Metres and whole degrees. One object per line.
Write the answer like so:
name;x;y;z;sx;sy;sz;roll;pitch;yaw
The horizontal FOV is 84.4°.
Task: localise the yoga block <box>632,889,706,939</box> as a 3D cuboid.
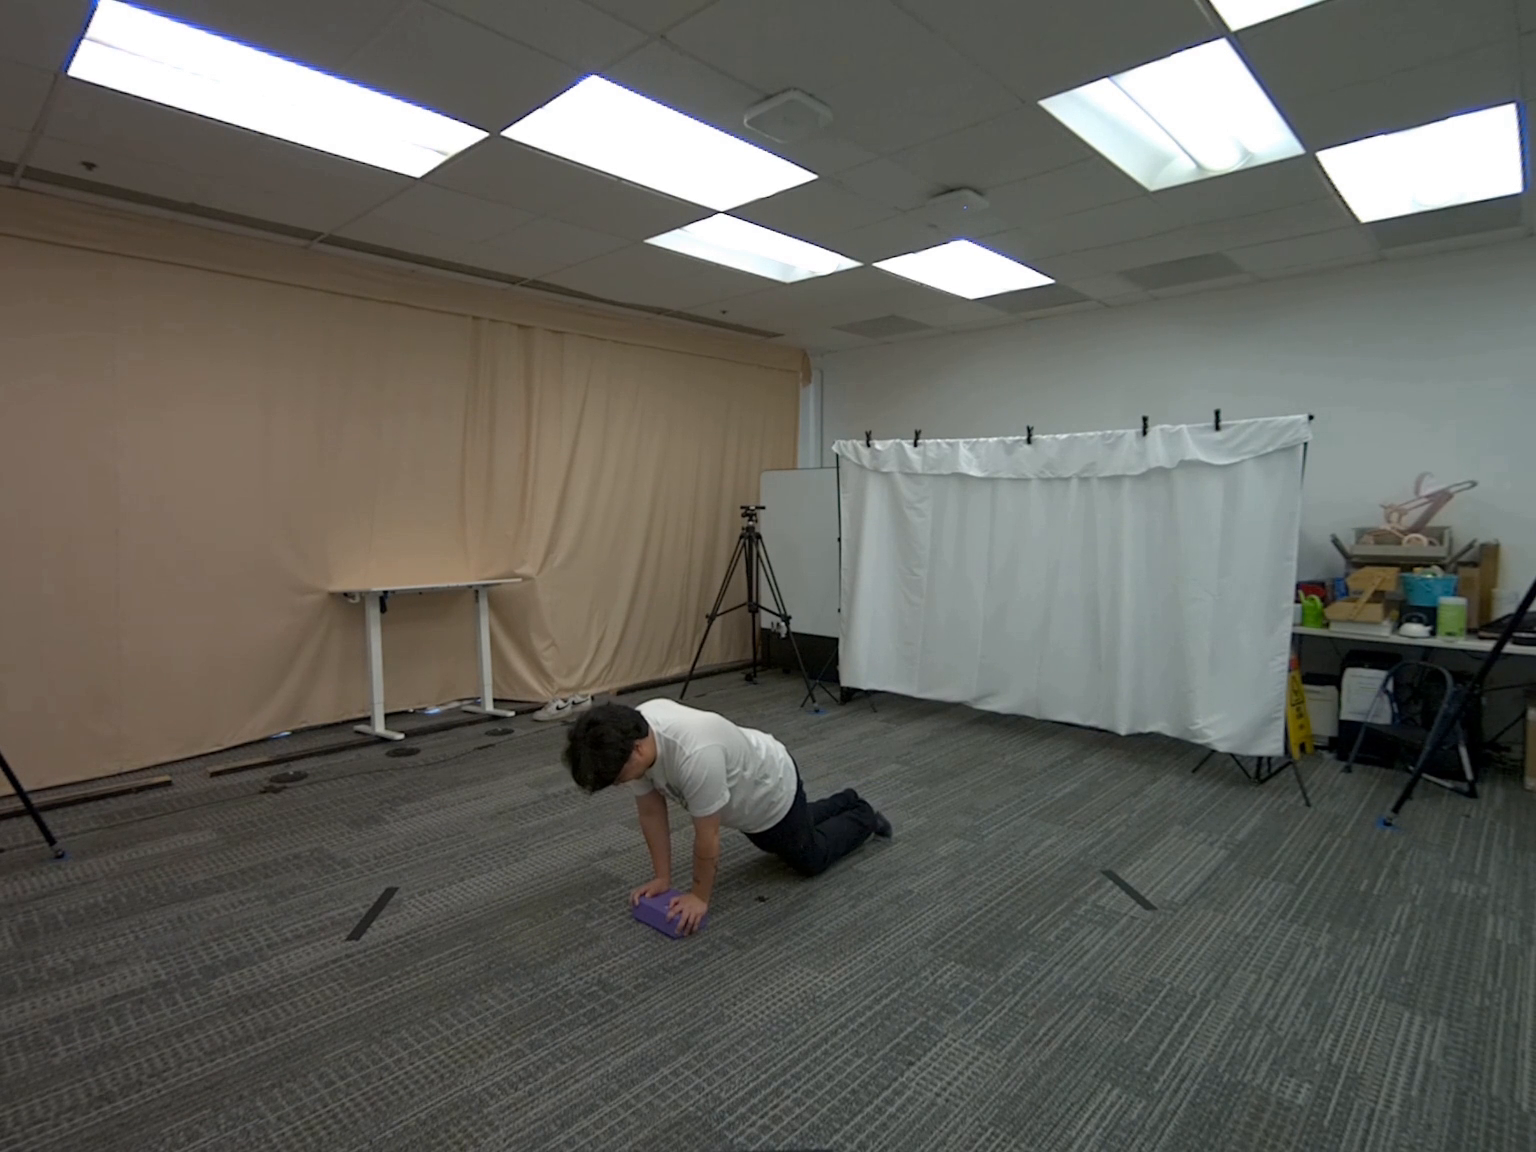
yoga block;-0.332;1.129;2.823;0.237;0.076;0.144;3;5;43
